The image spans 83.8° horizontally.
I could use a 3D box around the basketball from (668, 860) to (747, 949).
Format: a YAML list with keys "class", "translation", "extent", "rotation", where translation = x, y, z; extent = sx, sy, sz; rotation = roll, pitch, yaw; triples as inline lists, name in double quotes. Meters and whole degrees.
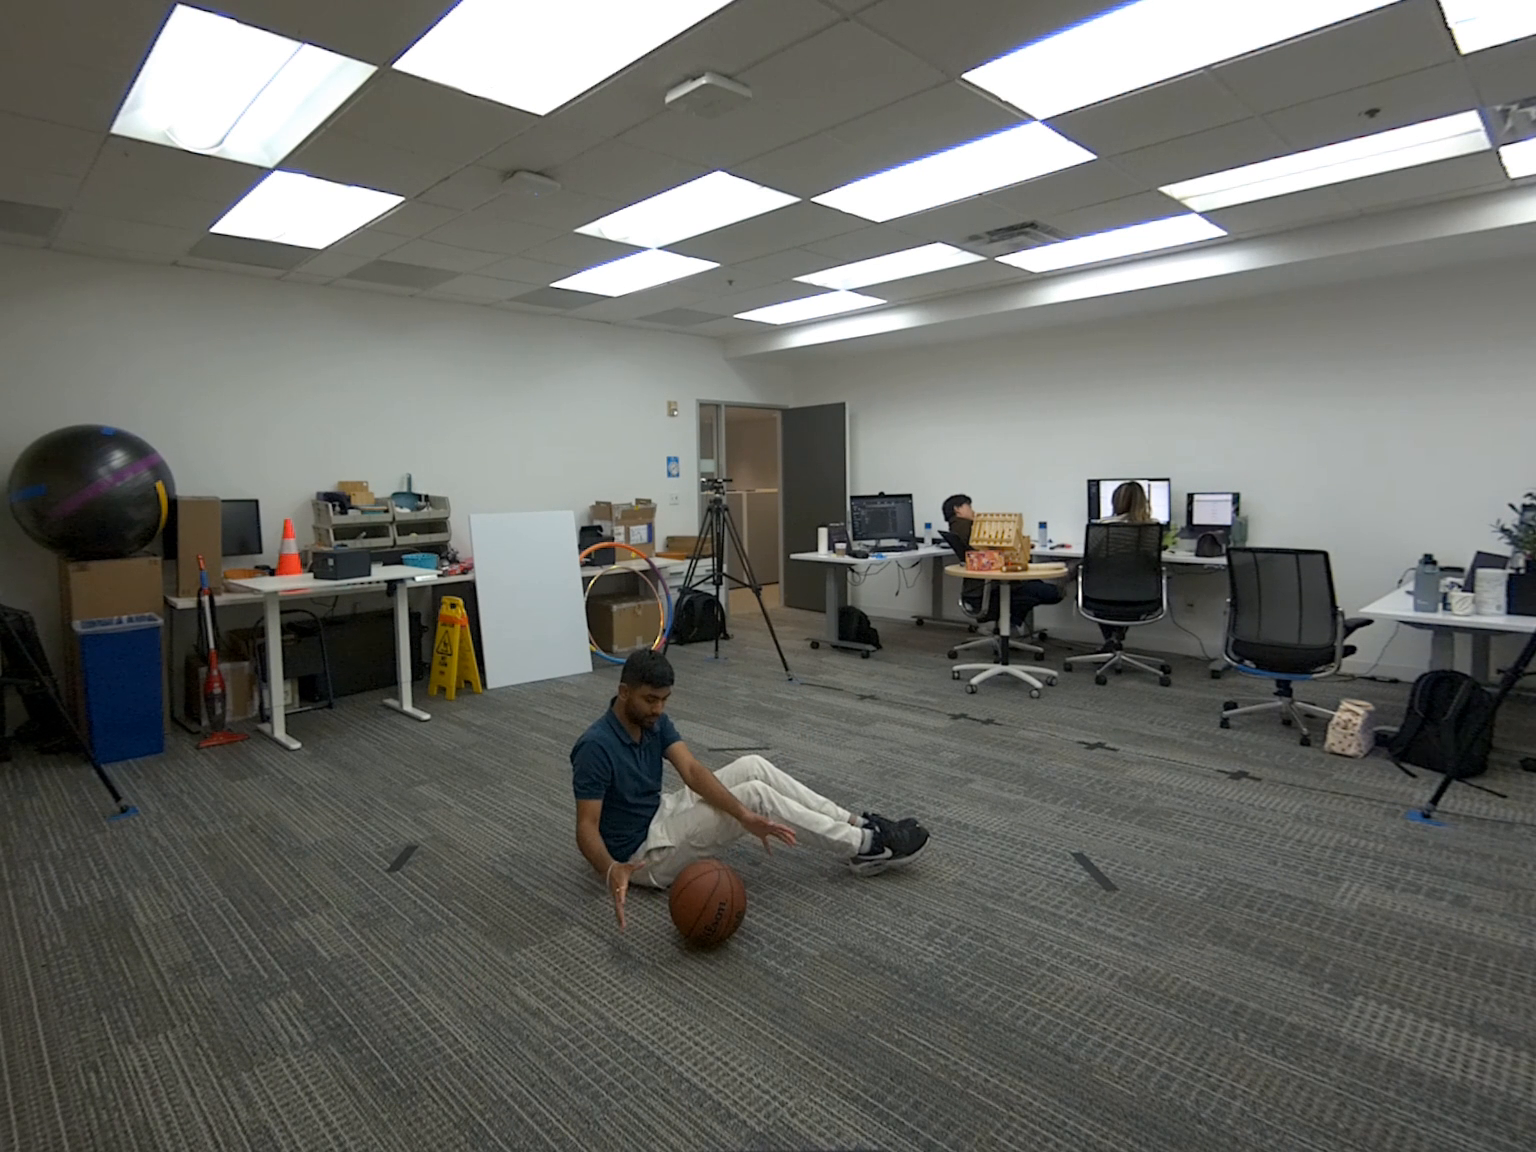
- class: "basketball"
  translation: [-0.180, 0.984, 2.591]
  extent: [0.236, 0.235, 0.237]
  rotation: [-1, 5, -2]
